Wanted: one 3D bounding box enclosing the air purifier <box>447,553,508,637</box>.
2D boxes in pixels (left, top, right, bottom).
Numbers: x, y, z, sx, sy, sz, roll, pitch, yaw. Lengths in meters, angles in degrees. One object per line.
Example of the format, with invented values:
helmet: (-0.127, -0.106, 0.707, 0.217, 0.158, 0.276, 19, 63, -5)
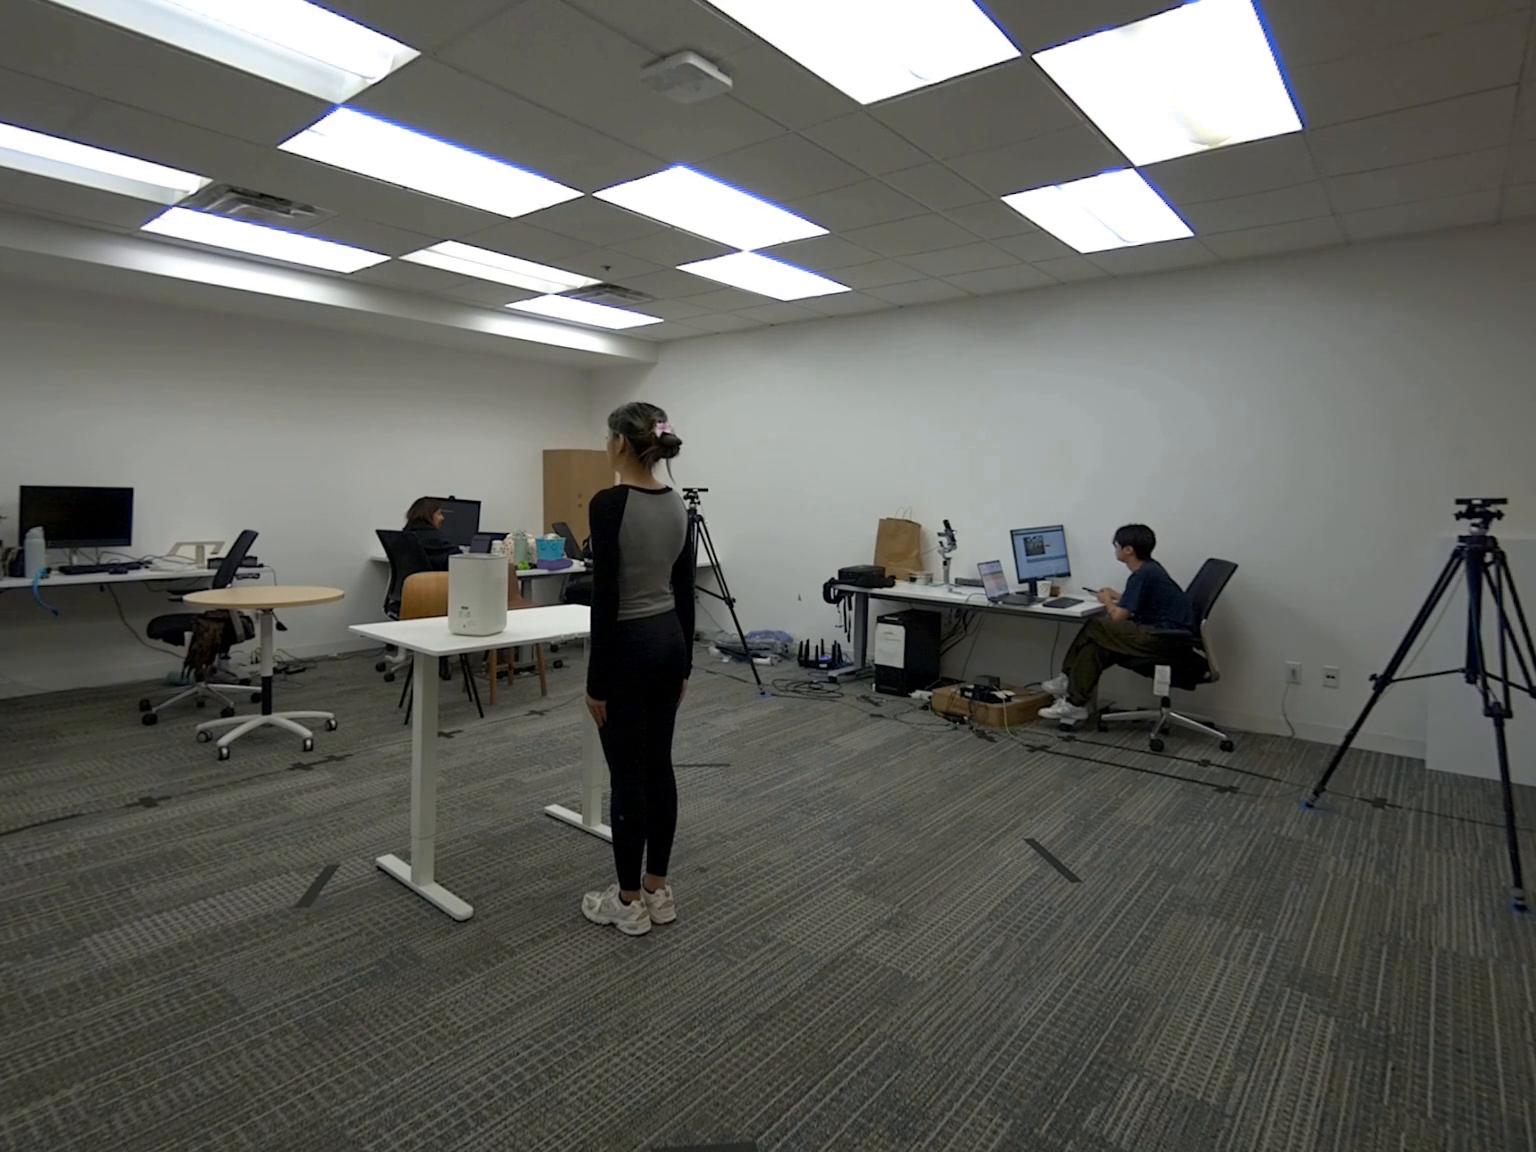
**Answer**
air purifier: (-0.997, 0.061, 2.909, 0.173, 0.265, 0.170, 2, 3, 9)
